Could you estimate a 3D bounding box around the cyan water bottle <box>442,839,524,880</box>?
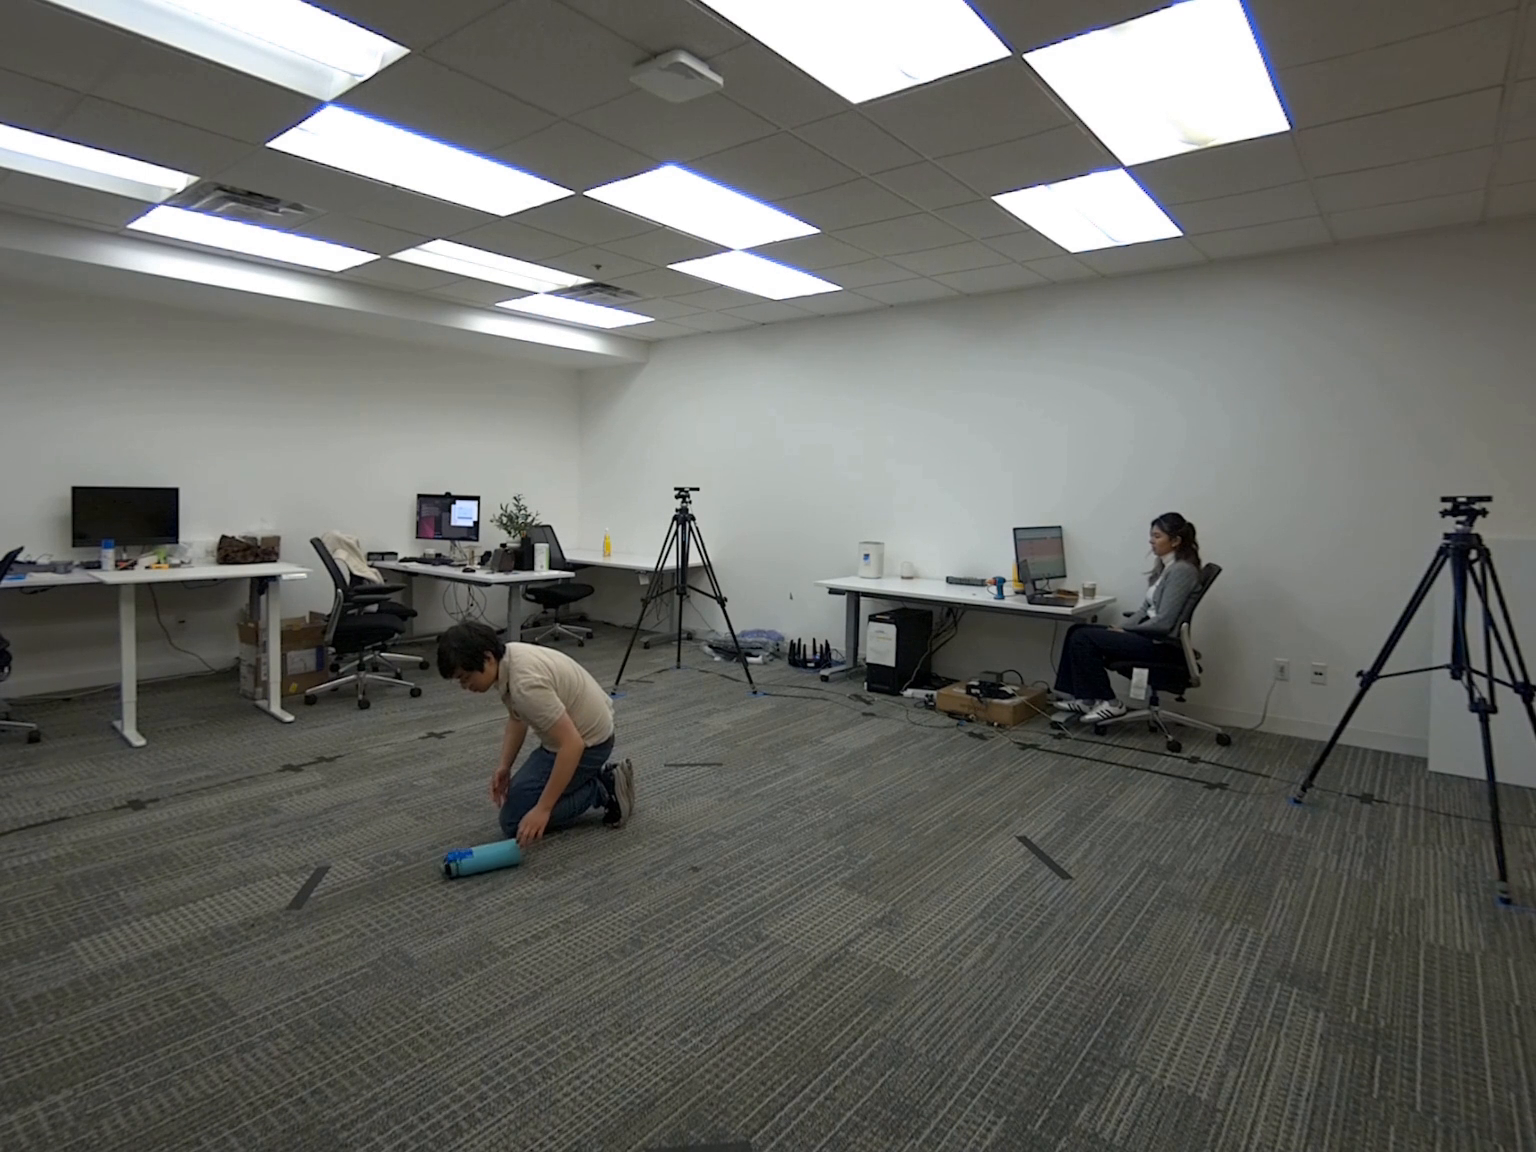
[{"bbox_3d":[-1.053,1.019,3.062,0.277,0.092,0.095,-5,6,-27],"label":"cyan water bottle"}]
